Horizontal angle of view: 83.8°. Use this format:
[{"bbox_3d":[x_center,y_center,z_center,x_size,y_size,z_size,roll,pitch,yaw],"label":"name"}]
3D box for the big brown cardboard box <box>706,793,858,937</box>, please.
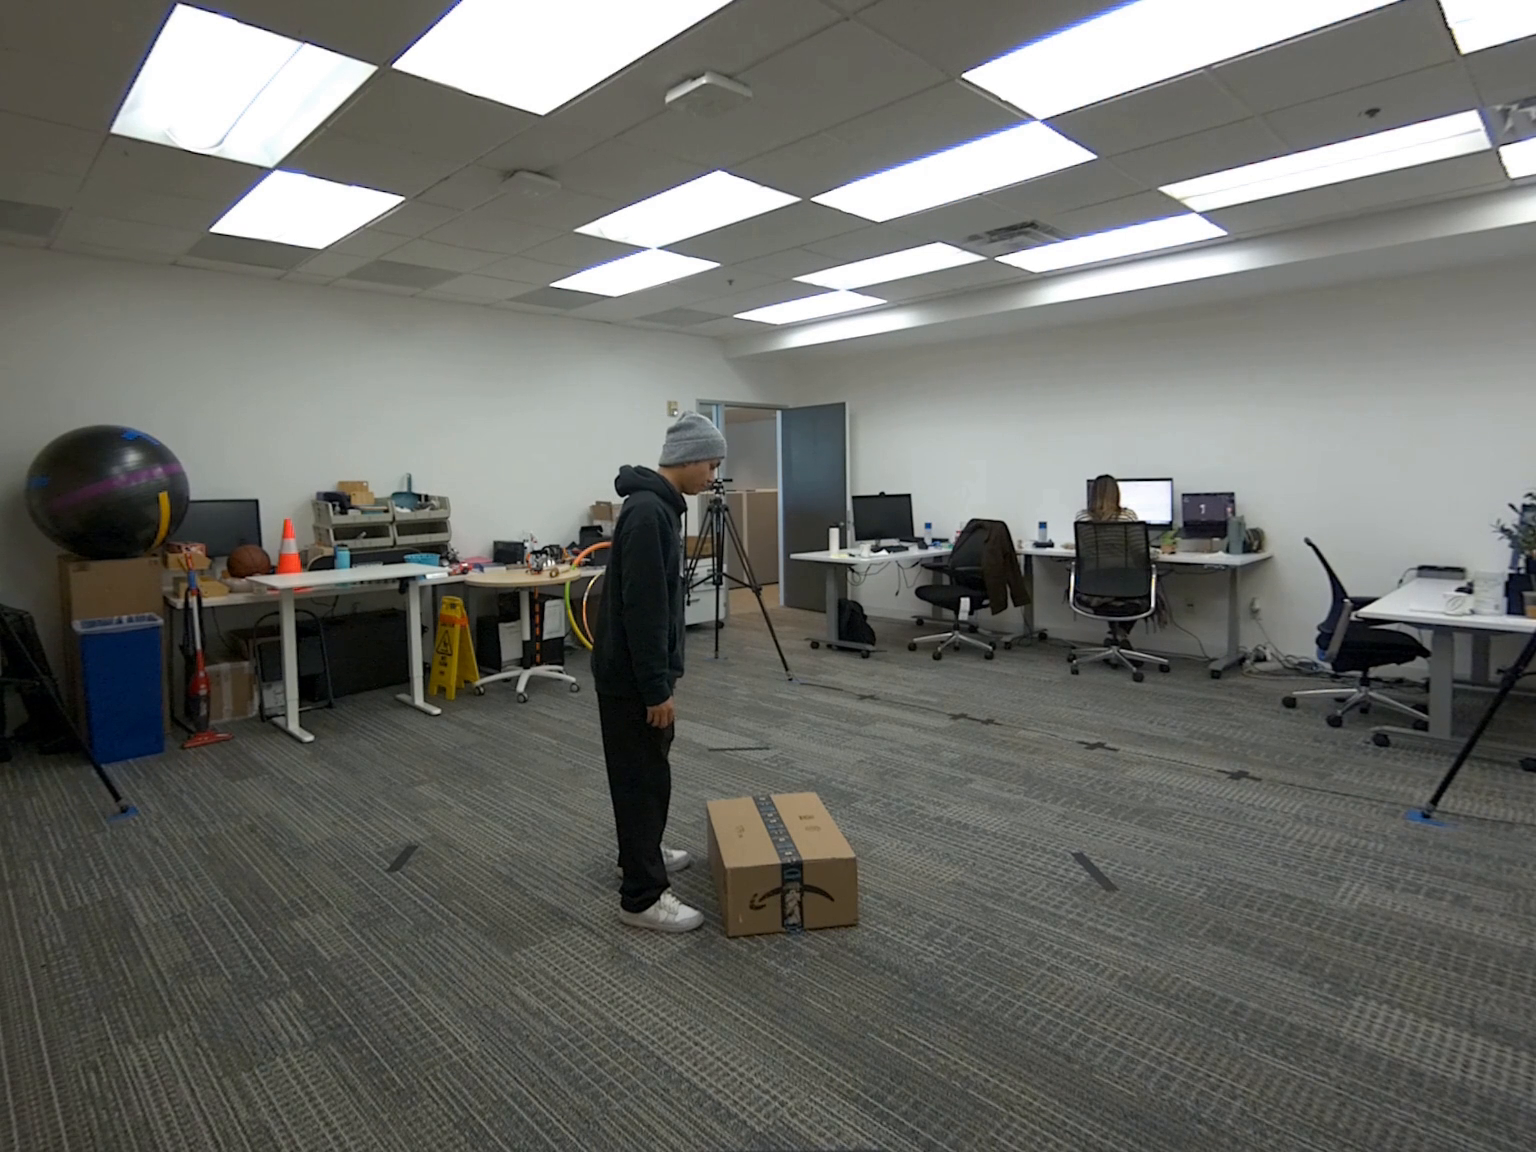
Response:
[{"bbox_3d":[0.030,0.955,2.898,0.414,0.232,0.597,-3,7,-9],"label":"big brown cardboard box"}]
